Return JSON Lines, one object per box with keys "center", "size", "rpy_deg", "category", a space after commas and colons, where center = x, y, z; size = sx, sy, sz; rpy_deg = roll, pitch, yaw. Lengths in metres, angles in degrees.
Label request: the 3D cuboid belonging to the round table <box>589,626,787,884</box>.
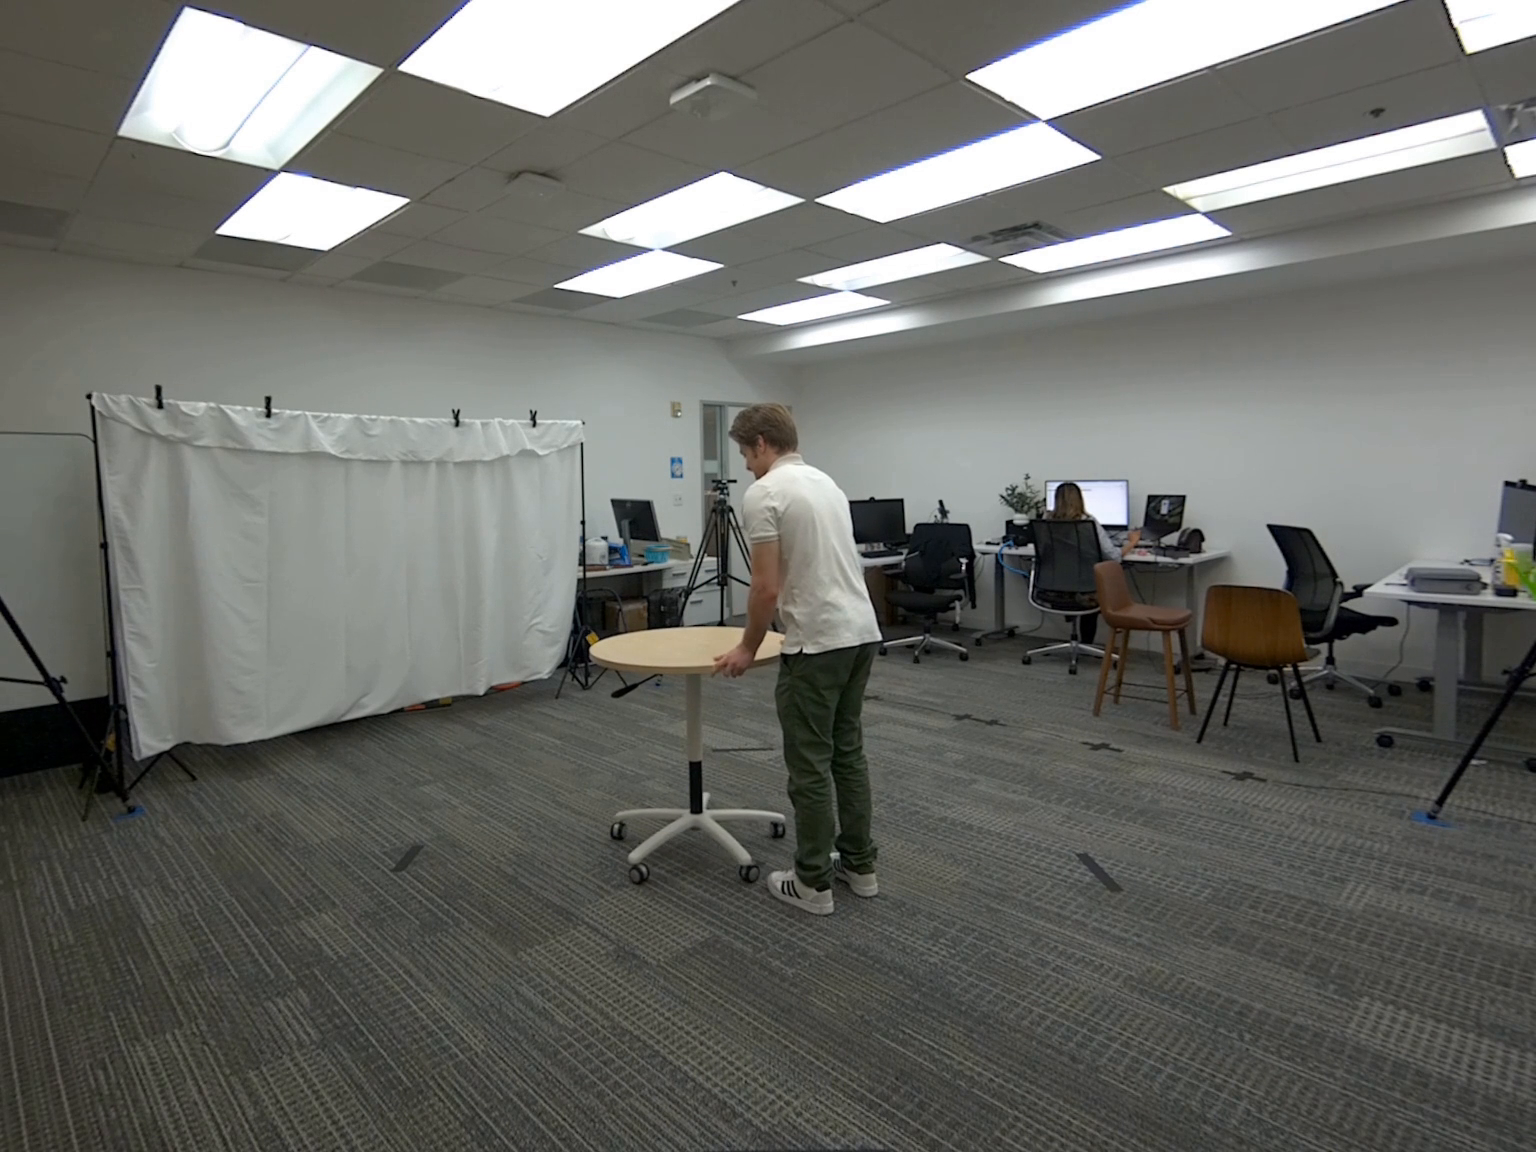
{"center": [-0.270, 0.647, 3.233], "size": [0.763, 0.791, 0.768], "rpy_deg": [-1, 5, -2], "category": "round table"}
